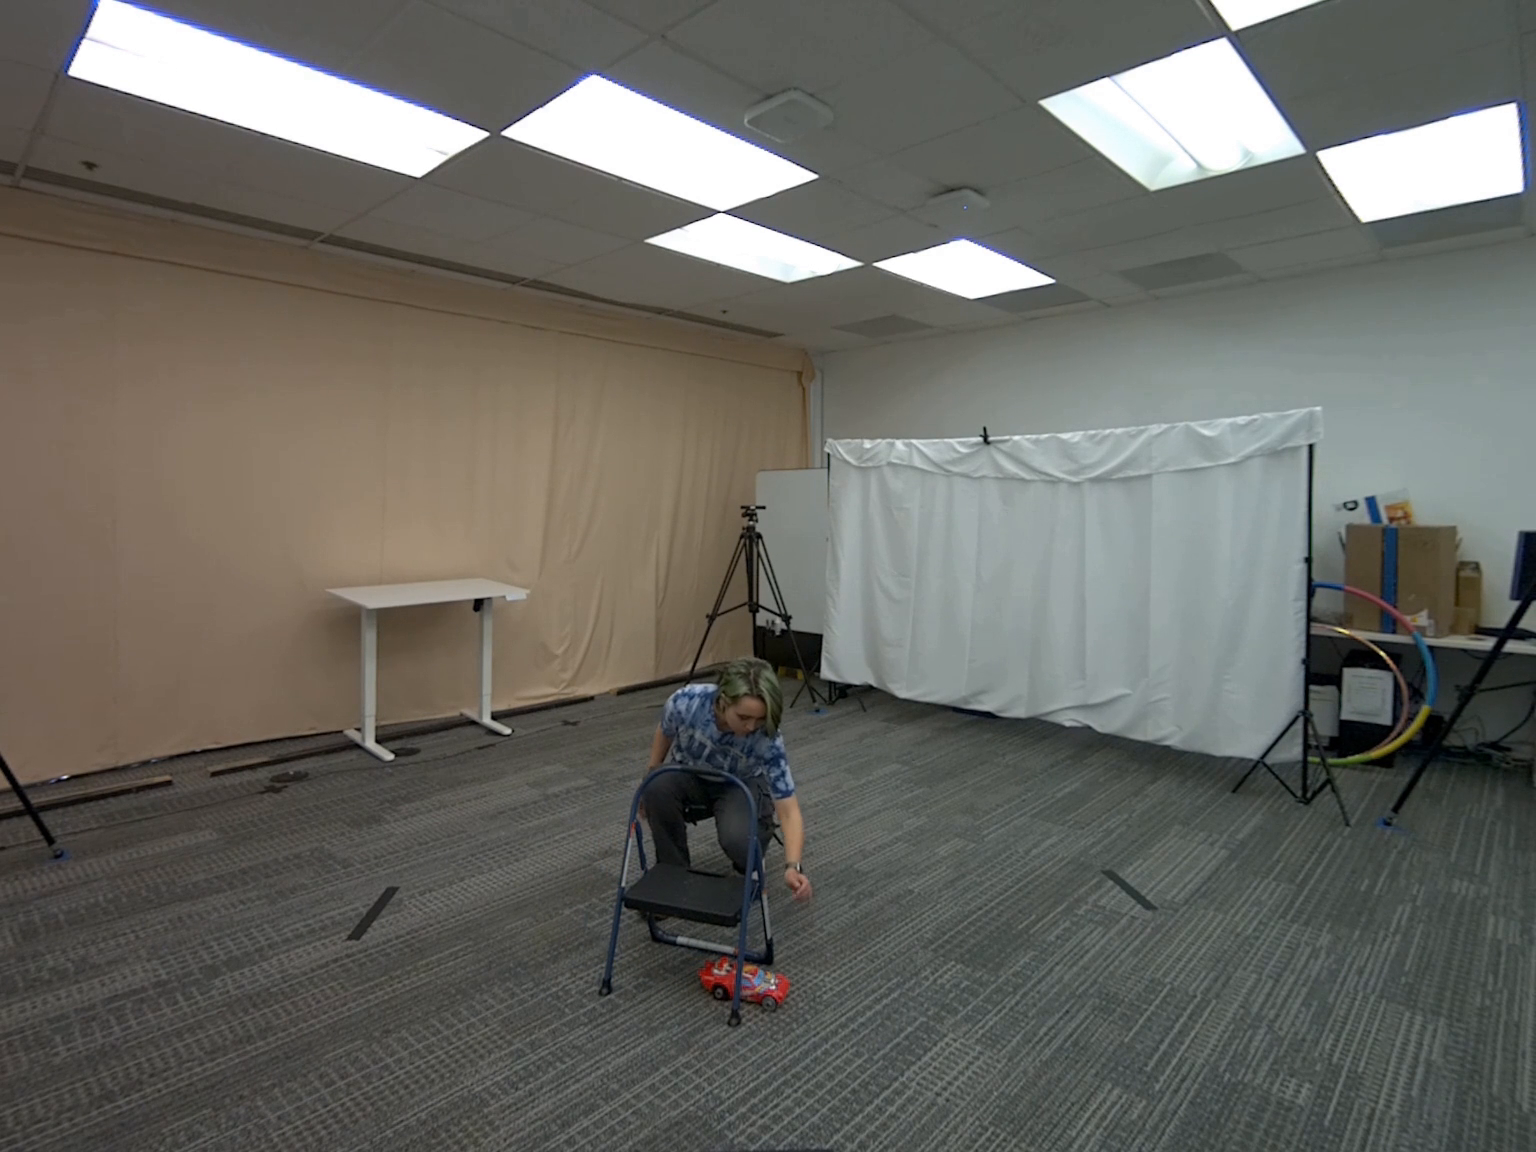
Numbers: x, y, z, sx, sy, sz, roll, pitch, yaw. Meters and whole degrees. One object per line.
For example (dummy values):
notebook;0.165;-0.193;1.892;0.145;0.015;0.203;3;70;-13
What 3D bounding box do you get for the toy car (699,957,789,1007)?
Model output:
toy car;-0.071;1.159;2.399;0.261;0.083;0.127;13;7;21
